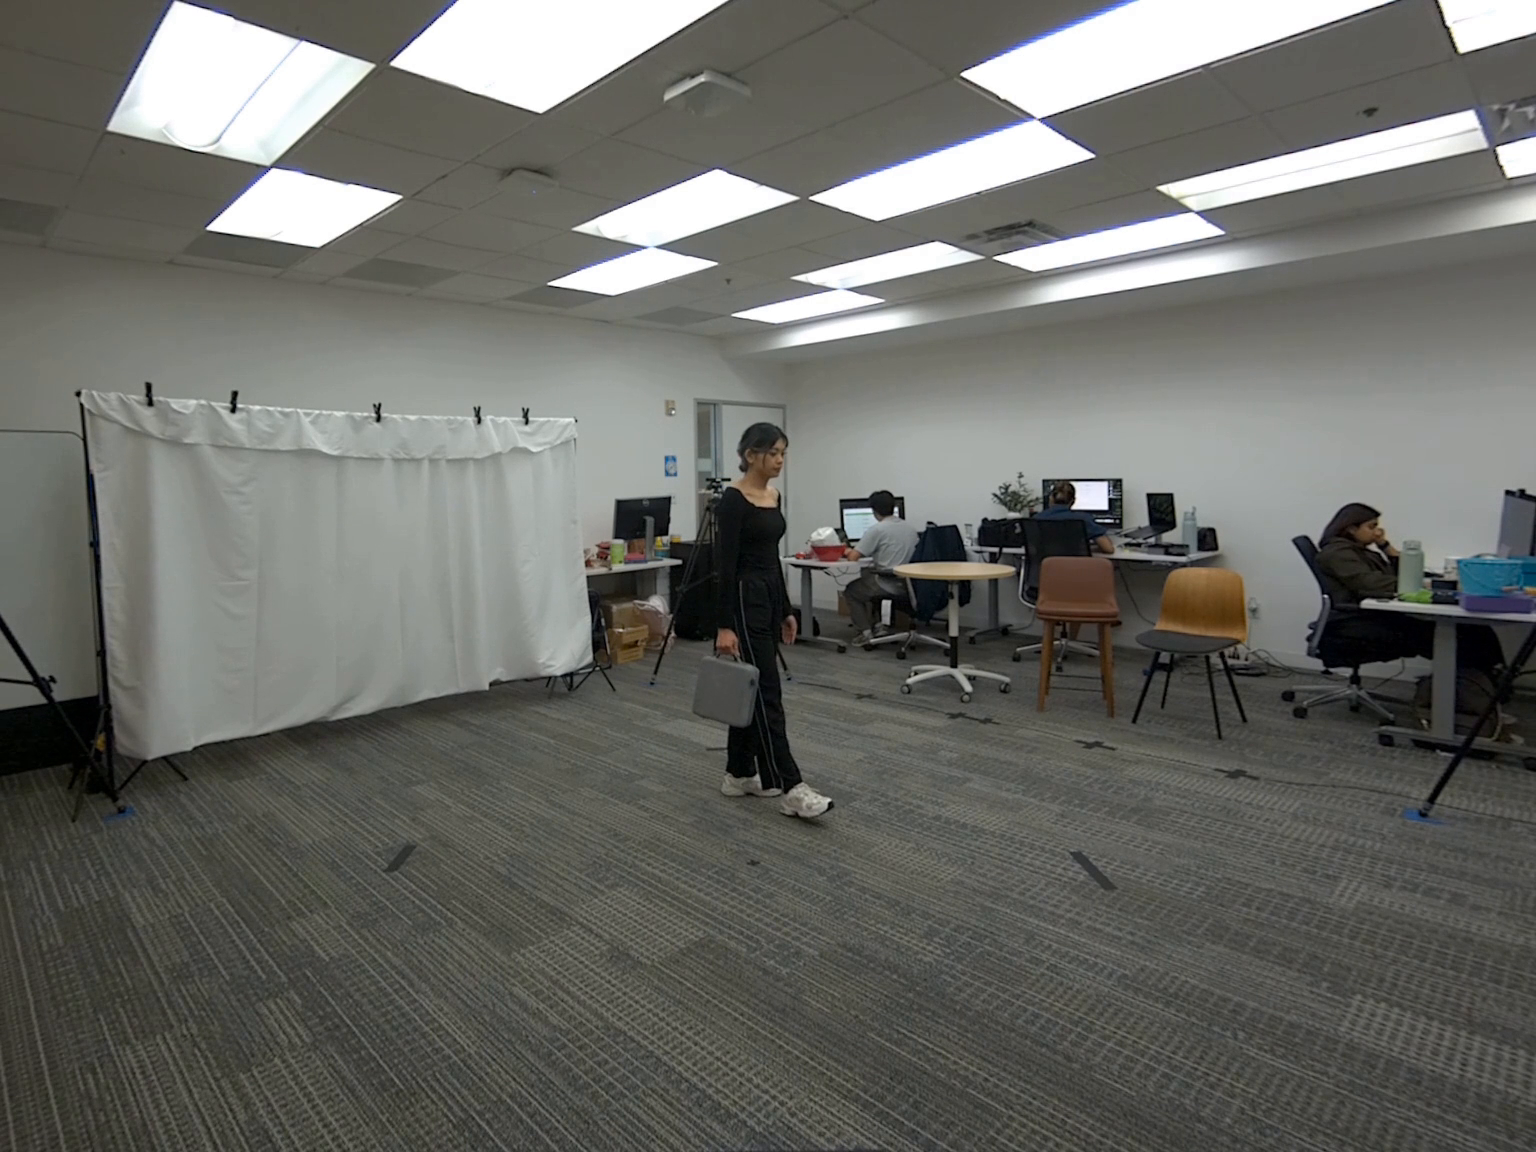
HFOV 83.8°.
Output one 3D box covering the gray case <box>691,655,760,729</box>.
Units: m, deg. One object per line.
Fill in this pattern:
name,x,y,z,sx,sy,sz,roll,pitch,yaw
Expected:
gray case,-0.165,0.472,3.529,0.265,0.261,0.101,8,0,33
